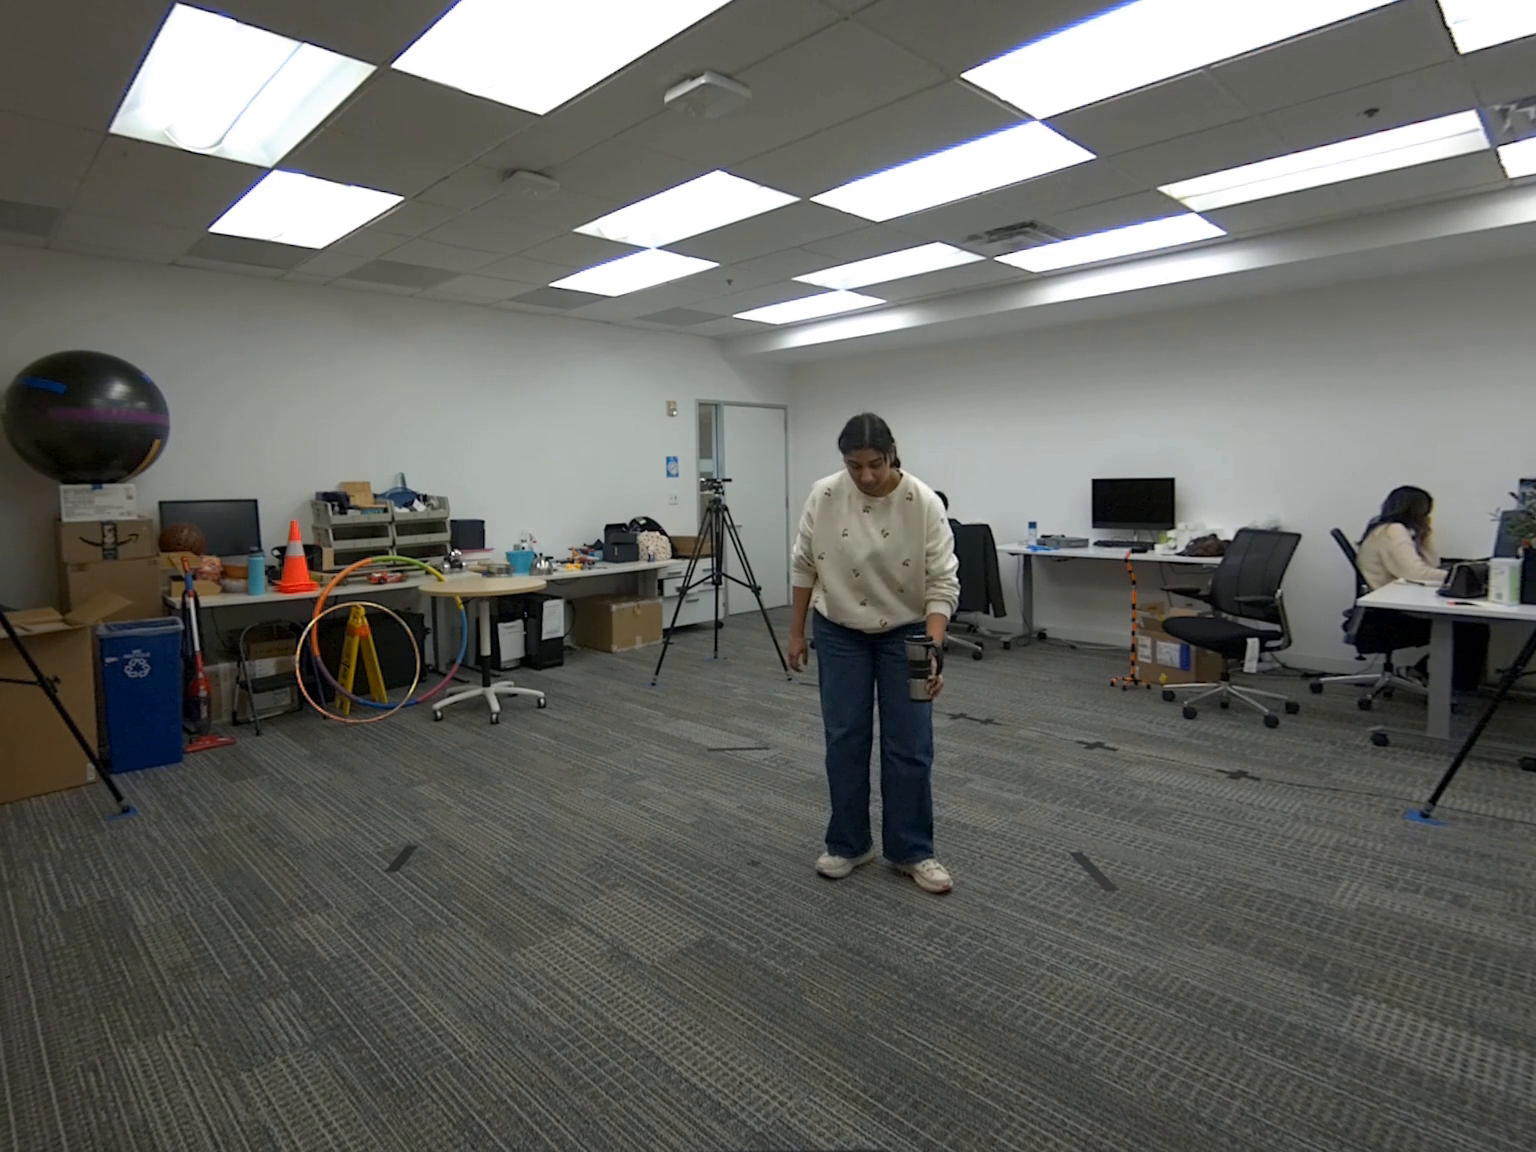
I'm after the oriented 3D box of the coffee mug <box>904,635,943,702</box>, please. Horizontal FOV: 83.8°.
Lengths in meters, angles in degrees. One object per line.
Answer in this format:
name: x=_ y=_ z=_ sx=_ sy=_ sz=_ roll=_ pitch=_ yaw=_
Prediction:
coffee mug: x=0.473 y=0.294 z=2.619 sx=0.086 sy=0.203 sz=0.124 roll=0 pitch=-1 yaw=-17
